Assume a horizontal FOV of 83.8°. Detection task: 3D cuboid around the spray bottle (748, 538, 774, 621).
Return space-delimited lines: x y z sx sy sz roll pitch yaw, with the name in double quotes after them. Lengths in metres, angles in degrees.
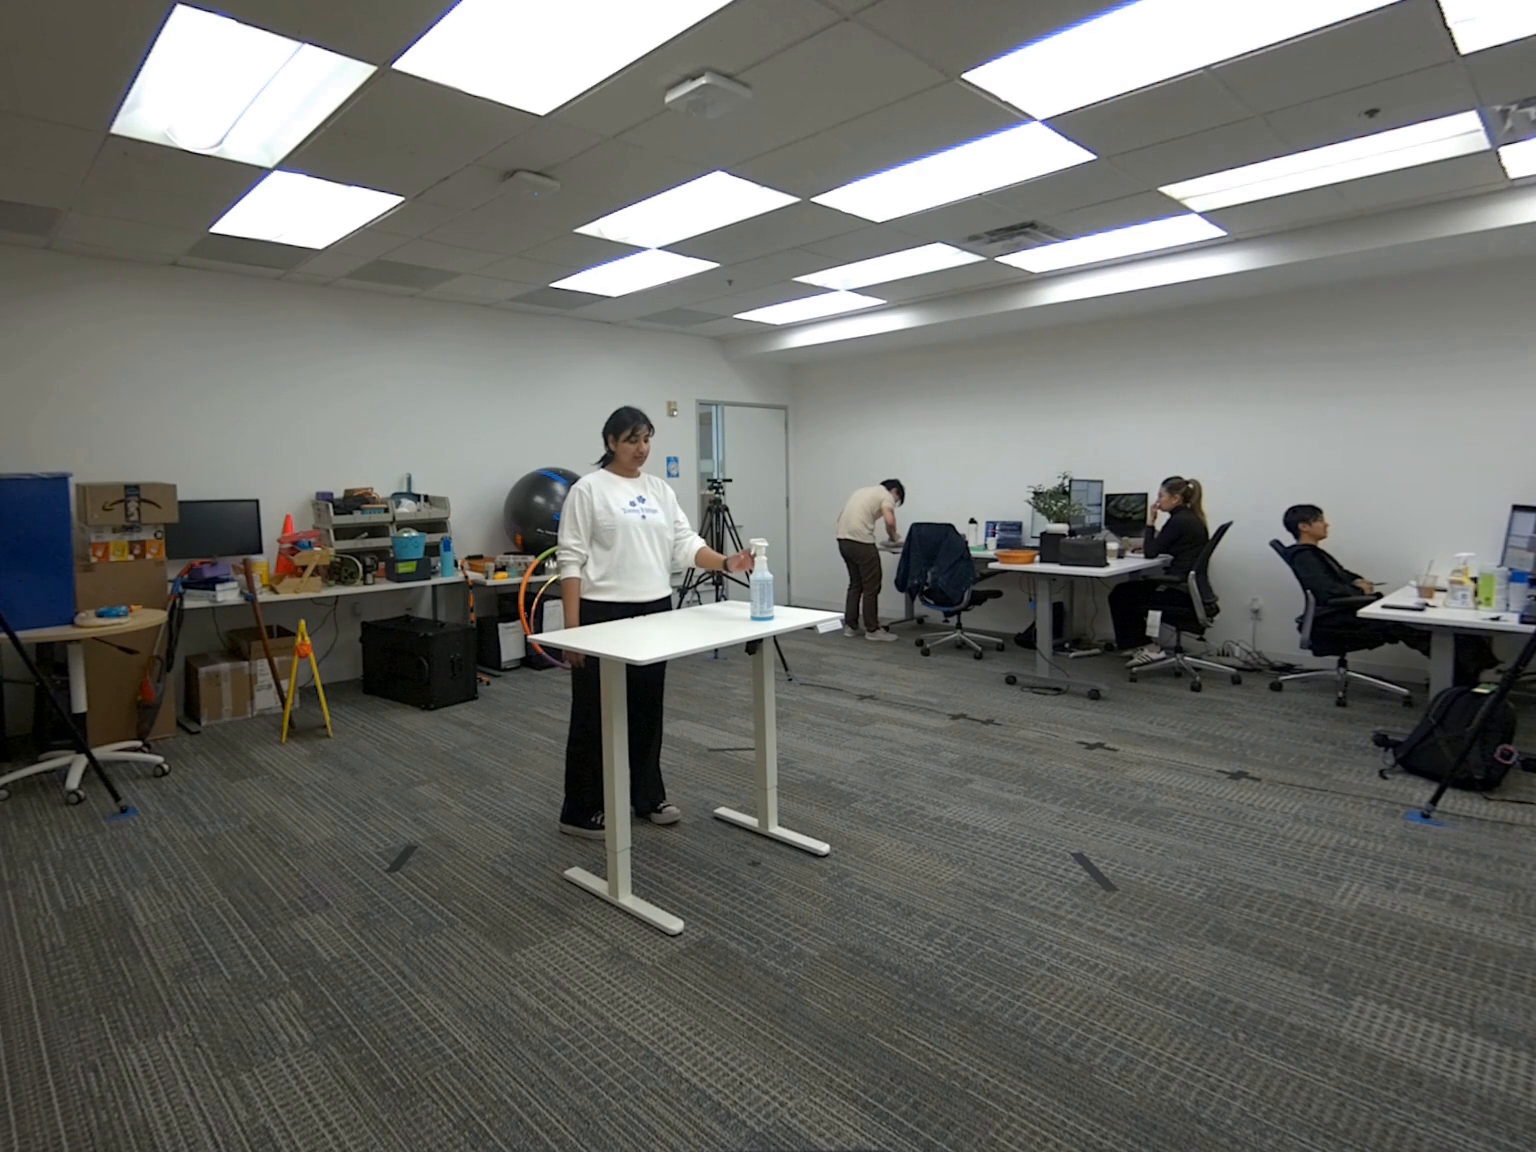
-0.026 0.011 3.115 0.088 0.296 0.089 -5 5 -20 "spray bottle"
